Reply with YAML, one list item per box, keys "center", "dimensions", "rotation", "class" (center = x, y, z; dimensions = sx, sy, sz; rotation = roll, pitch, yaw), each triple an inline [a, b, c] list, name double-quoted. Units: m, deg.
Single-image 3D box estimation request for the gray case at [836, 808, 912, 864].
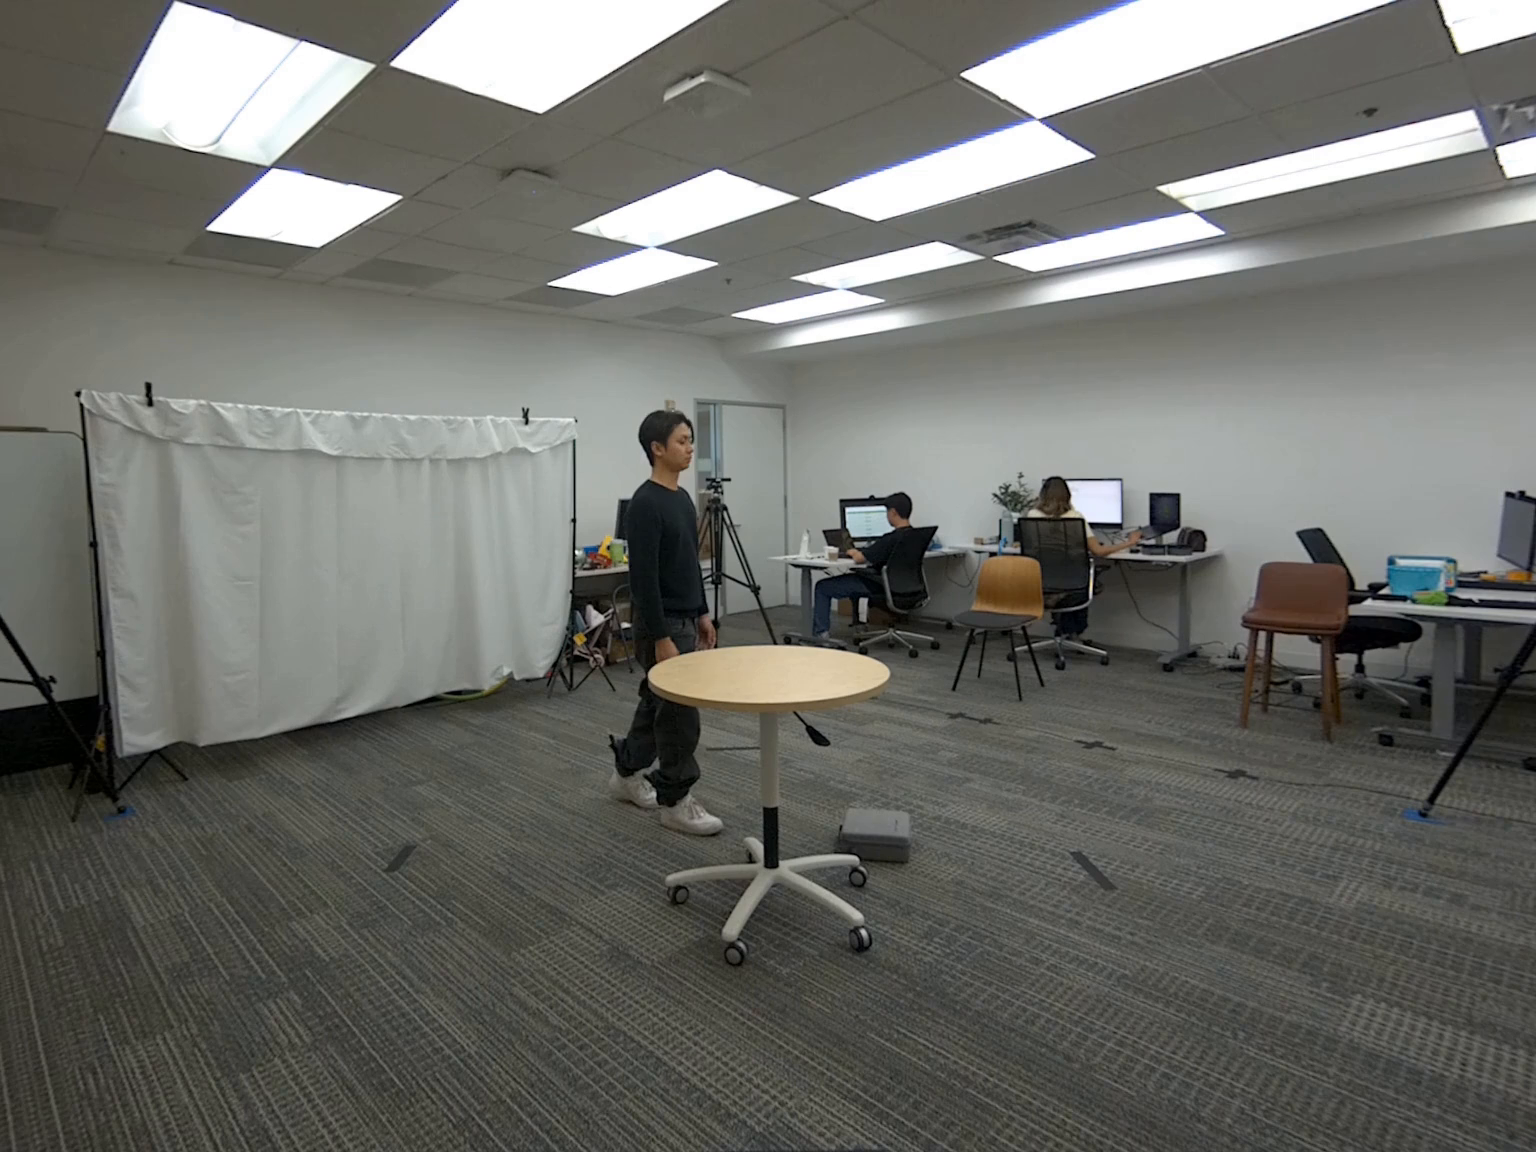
- center: [0.403, 0.963, 3.207]
  dimensions: [0.264, 0.104, 0.255]
  rotation: [-1, 7, 12]
  class: "gray case"
